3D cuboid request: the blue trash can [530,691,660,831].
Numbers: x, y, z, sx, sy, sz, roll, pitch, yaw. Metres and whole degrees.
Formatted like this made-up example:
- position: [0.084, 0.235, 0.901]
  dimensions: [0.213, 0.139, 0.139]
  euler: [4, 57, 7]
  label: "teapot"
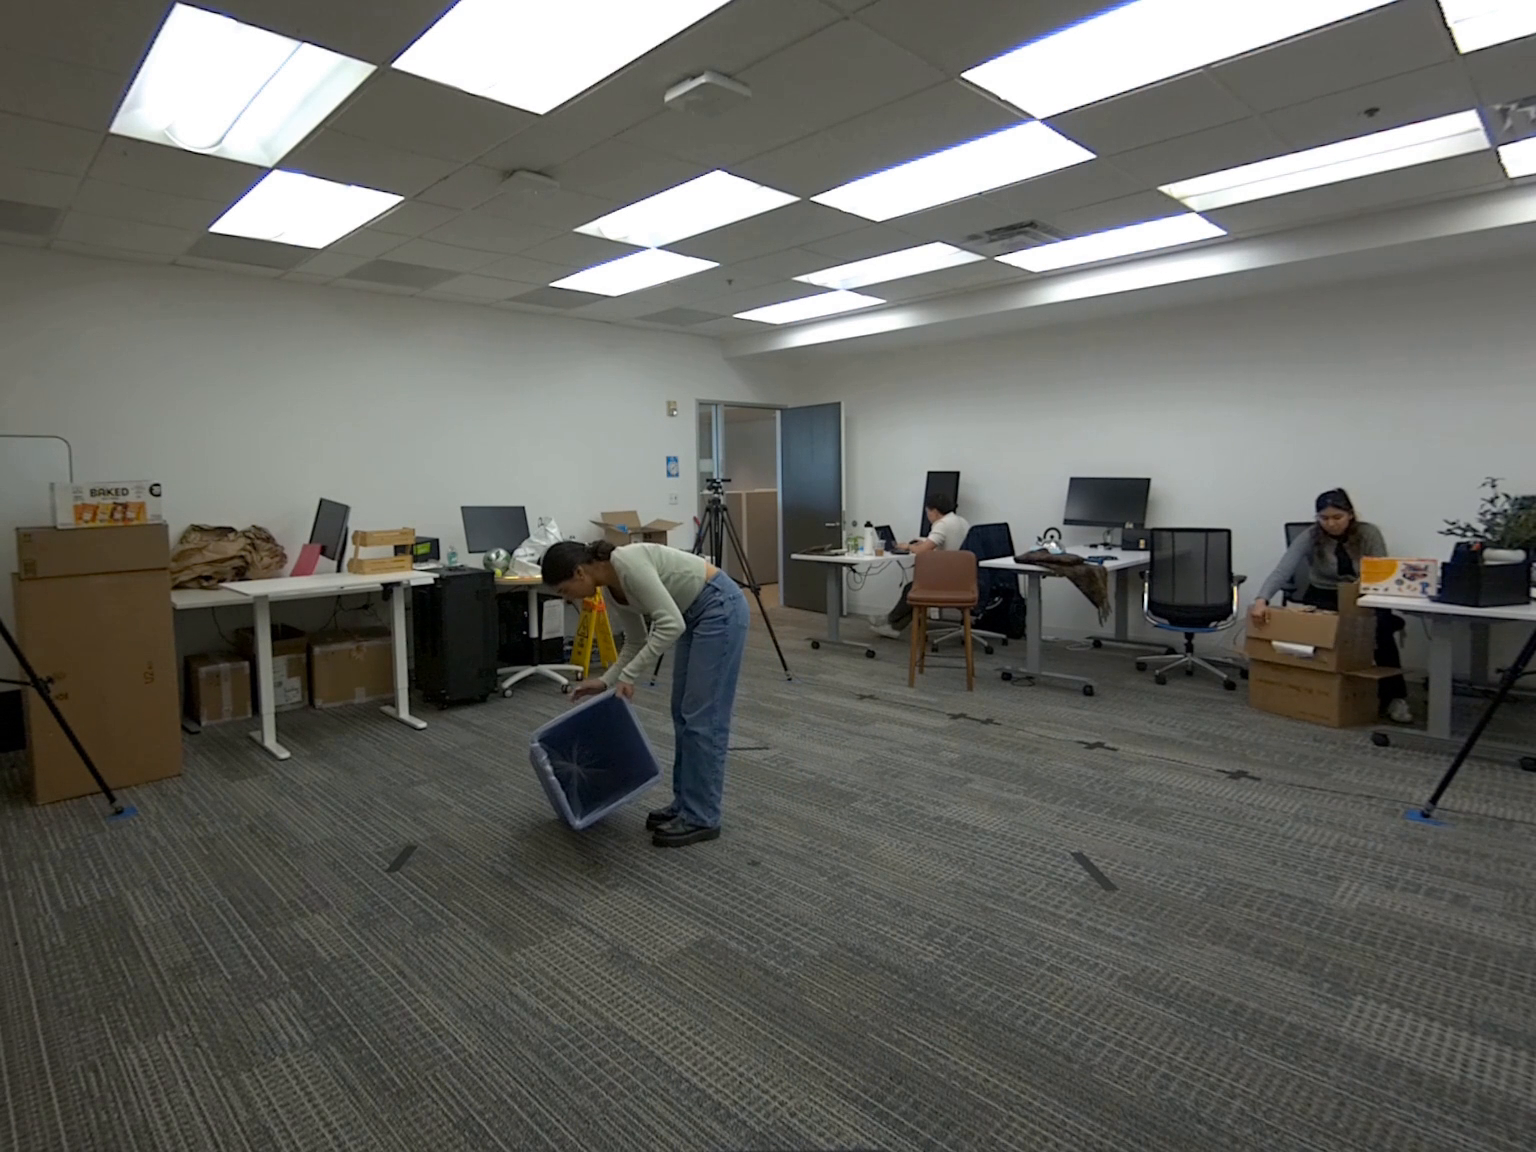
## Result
- position: [-0.702, 0.716, 3.319]
  dimensions: [0.370, 0.381, 0.714]
  euler: [-26, -6, -23]
  label: "blue trash can"
